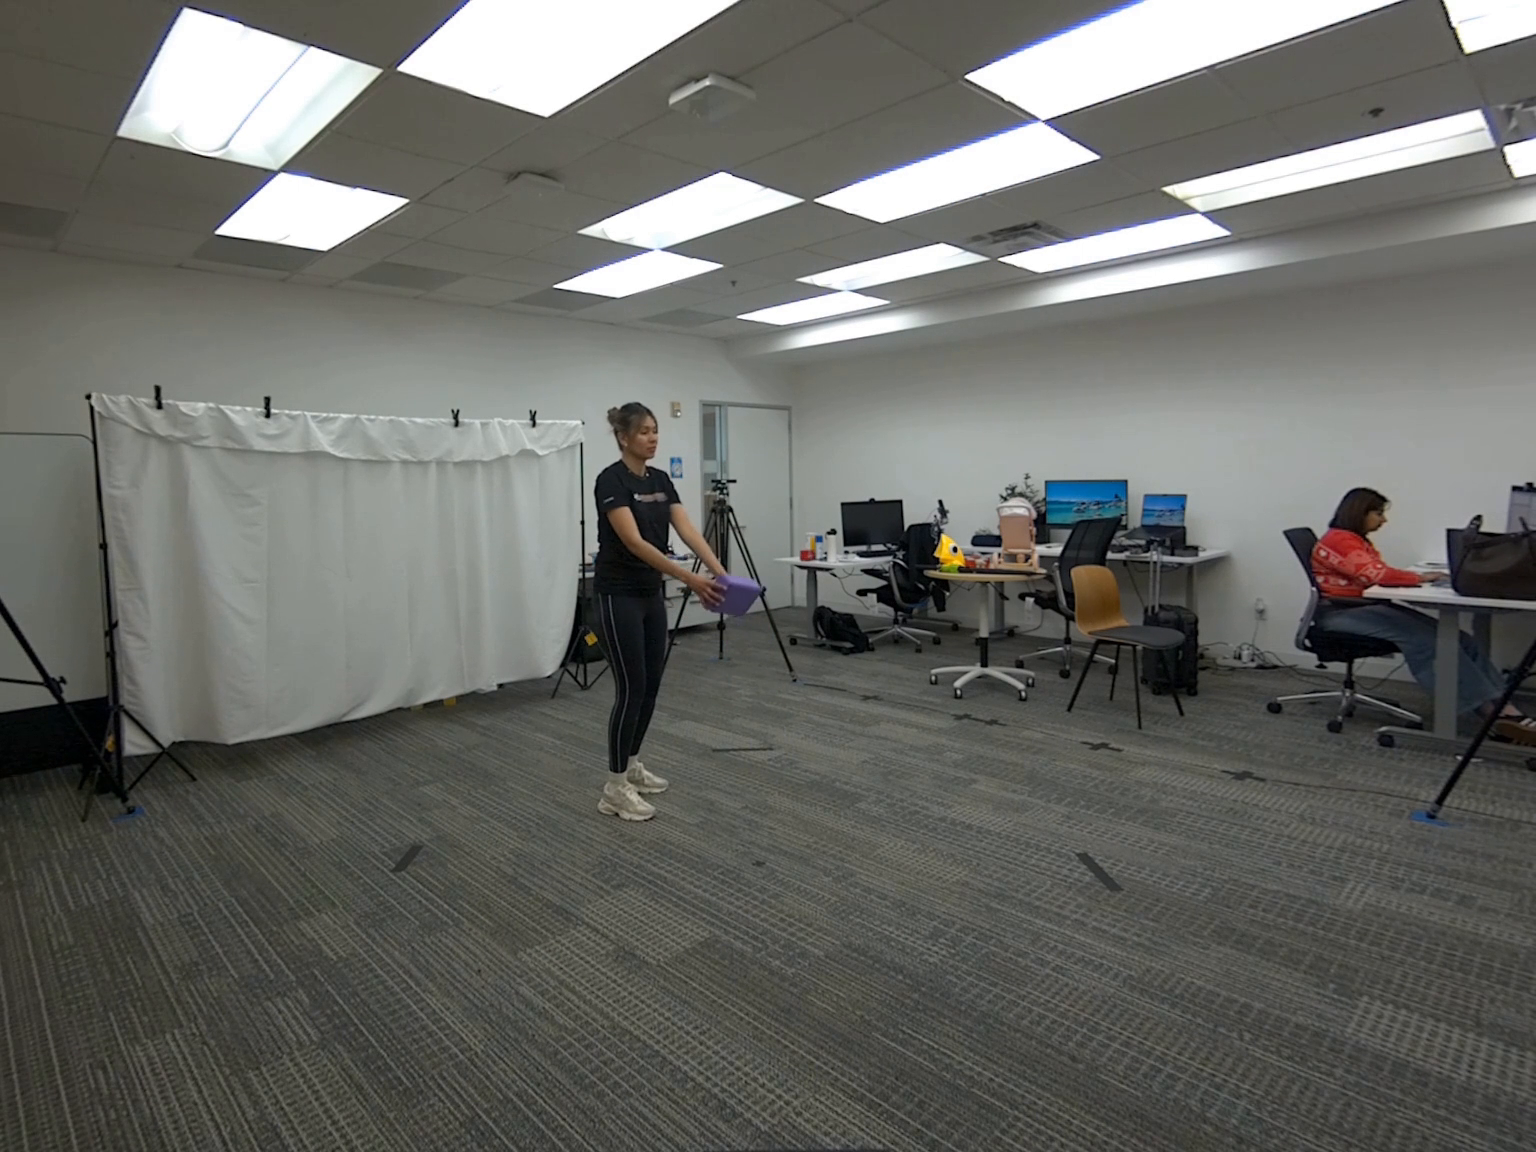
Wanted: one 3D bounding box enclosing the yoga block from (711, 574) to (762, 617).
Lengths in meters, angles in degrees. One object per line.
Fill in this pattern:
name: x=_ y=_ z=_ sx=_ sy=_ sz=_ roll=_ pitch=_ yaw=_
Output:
yoga block: x=-0.141 y=0.062 z=3.391 sx=0.079 sy=0.148 sz=0.222 roll=48 pitch=20 yaw=30
